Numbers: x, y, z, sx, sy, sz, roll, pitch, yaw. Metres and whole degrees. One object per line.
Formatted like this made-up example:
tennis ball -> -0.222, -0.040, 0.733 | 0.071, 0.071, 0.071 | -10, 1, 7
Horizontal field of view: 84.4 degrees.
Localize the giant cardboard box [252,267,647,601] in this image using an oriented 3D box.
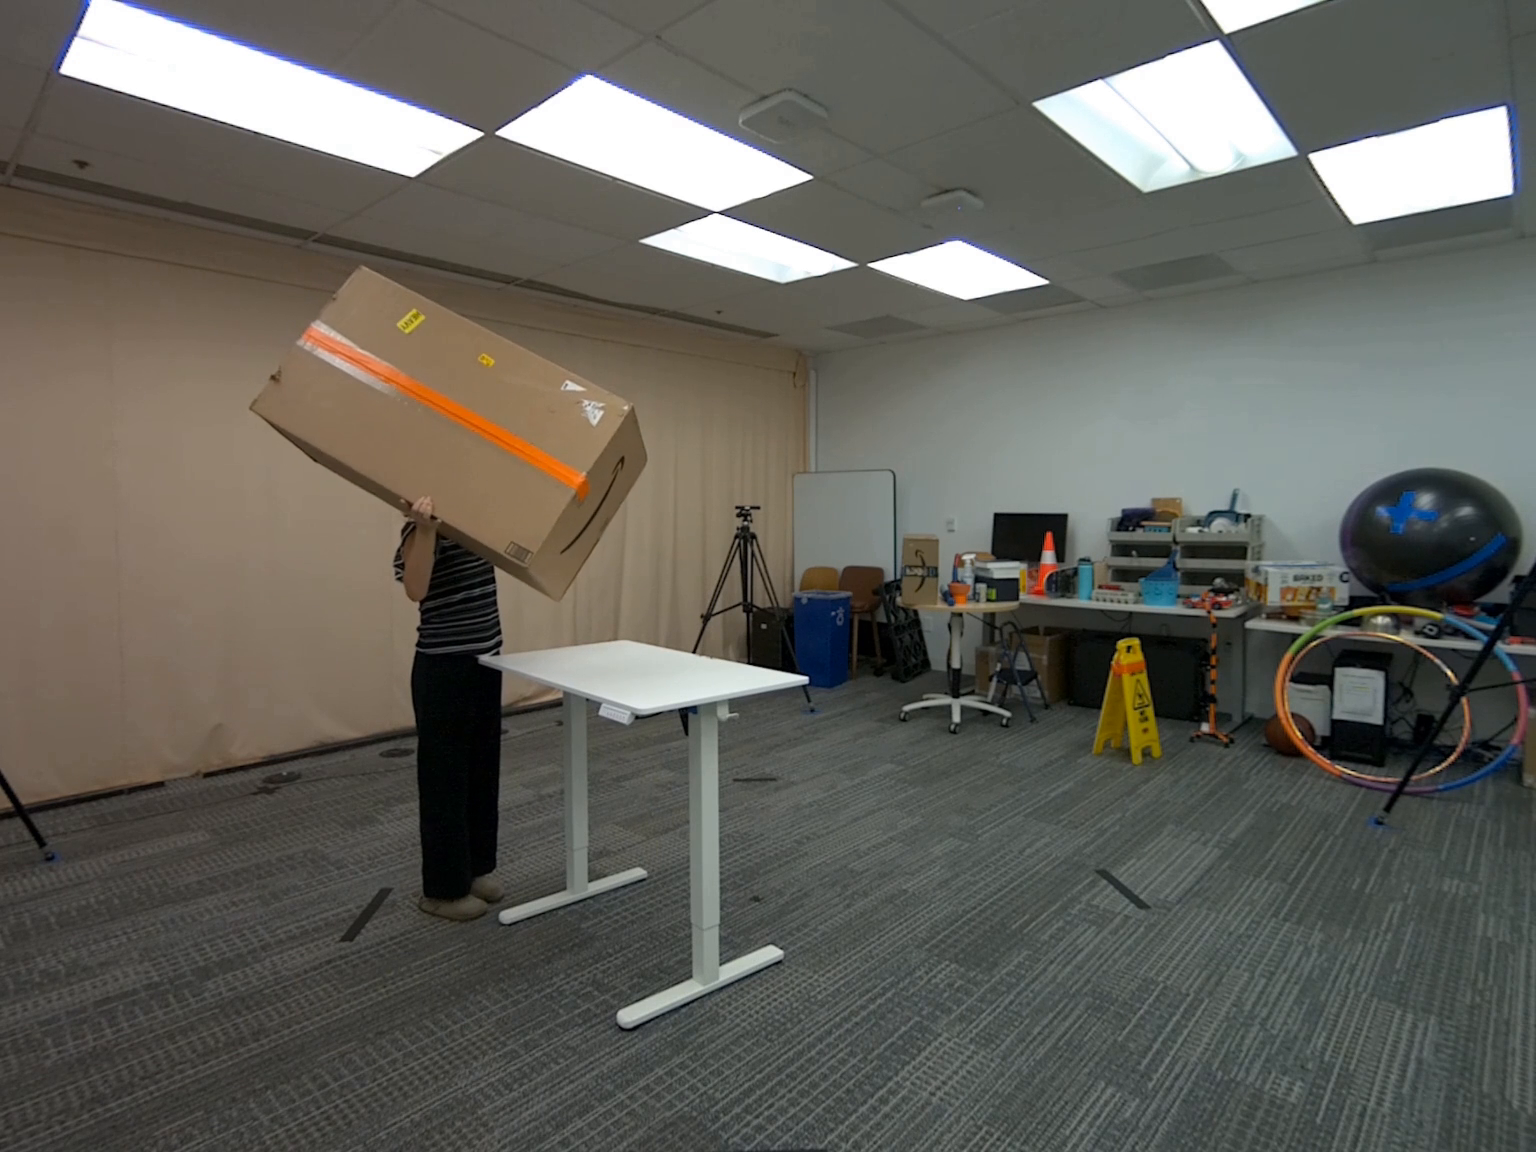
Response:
giant cardboard box -> -0.982, -0.447, 2.694 | 1.039, 0.577, 0.421 | 28, -15, 10
